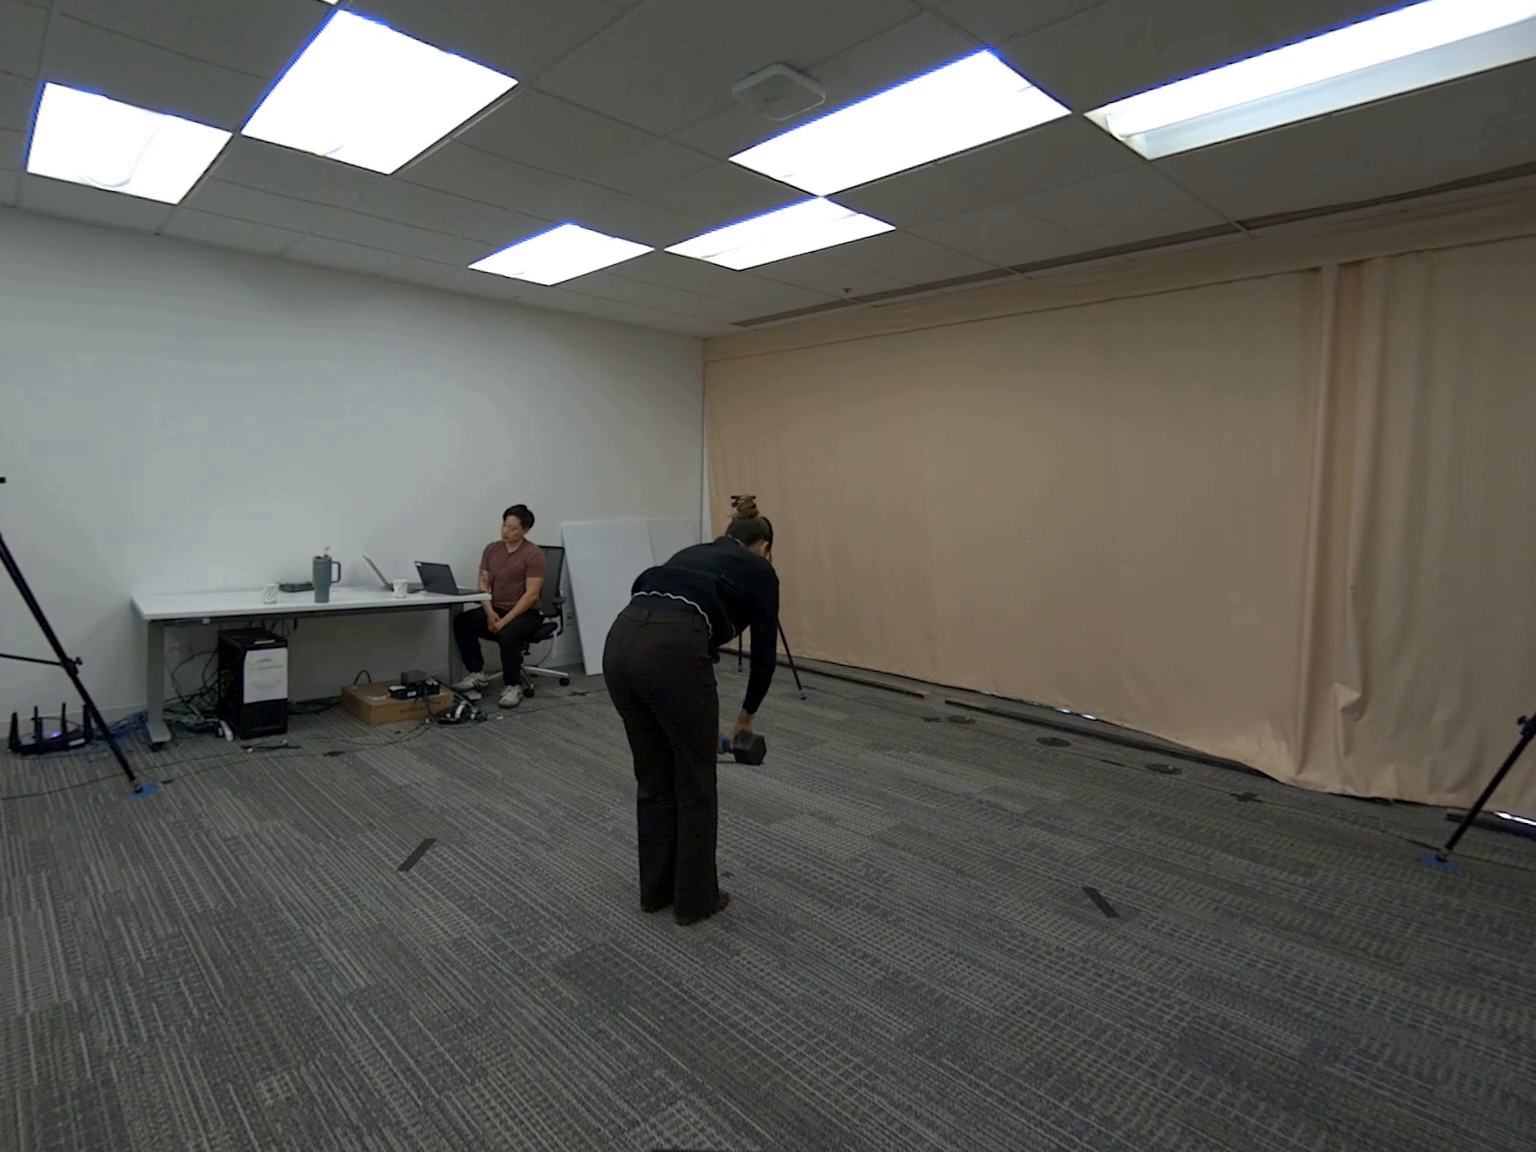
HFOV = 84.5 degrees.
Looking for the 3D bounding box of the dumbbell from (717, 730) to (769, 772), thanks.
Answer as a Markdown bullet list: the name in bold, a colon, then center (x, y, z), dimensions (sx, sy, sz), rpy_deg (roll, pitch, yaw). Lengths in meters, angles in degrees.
- **dumbbell**: center (-0.159, 0.618, 3.045), dimensions (0.301, 0.109, 0.119), rpy_deg (3, -9, 40)
